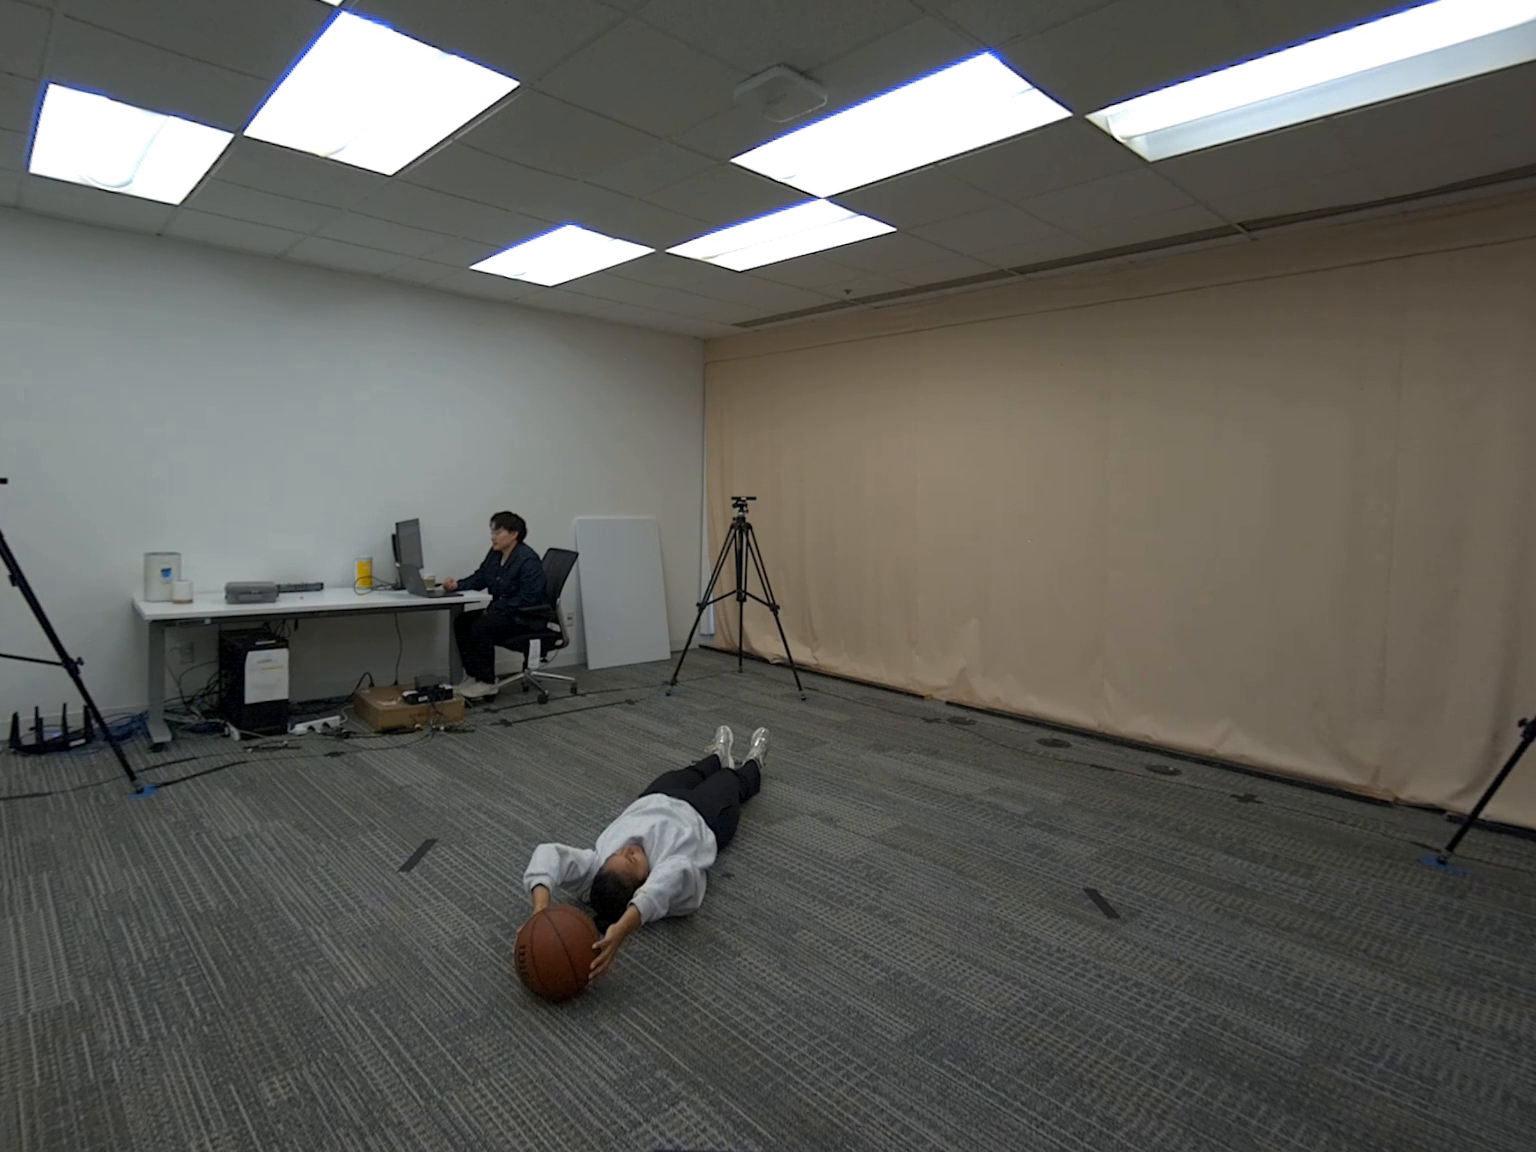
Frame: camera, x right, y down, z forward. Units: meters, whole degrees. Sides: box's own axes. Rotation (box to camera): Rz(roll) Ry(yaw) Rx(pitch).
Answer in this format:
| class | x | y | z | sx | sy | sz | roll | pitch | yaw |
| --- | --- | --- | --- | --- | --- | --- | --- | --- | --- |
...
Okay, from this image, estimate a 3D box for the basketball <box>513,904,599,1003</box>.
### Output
| class | x | y | z | sx | sy | sz | roll | pitch | yaw |
| --- | --- | --- | --- | --- | --- | --- | --- | --- | --- |
| basketball | -0.591 | 1.044 | 2.347 | 0.236 | 0.235 | 0.237 | 1 | 5 | -1 |
